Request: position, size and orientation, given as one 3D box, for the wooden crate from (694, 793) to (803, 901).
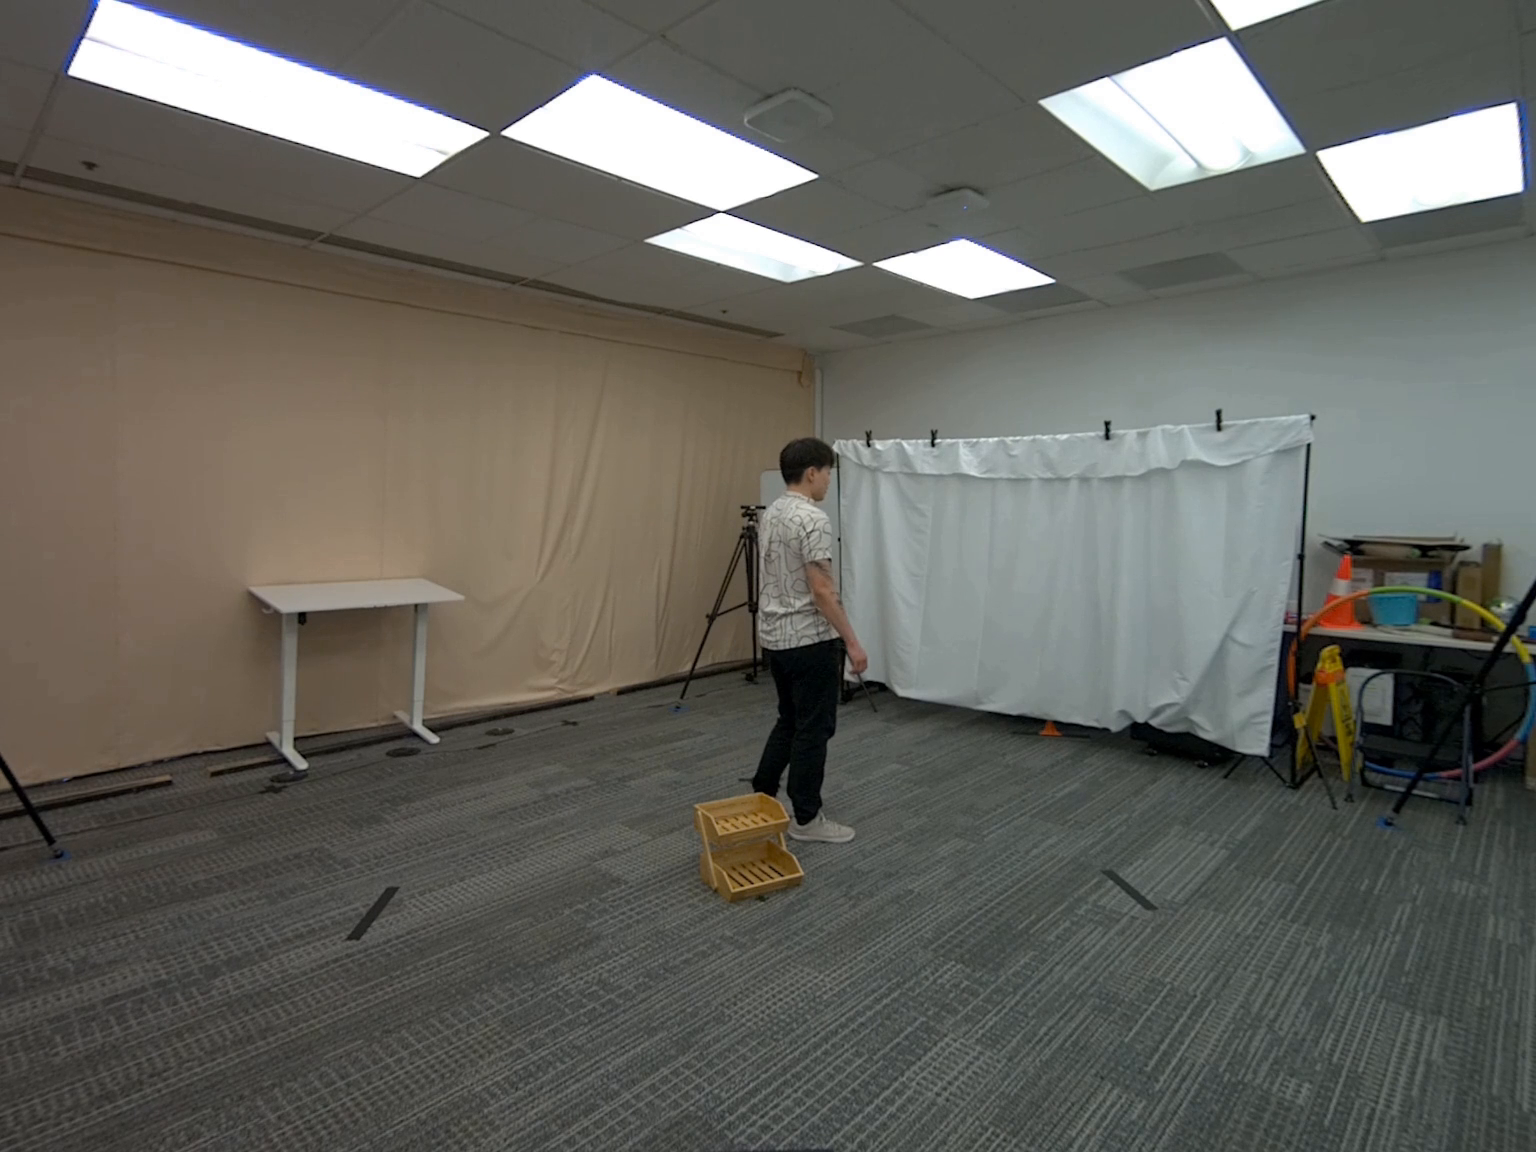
[{"bbox_3d":[-0.073,0.996,3.128,0.316,0.273,0.310,-3,4,-29],"label":"wooden crate"}]
